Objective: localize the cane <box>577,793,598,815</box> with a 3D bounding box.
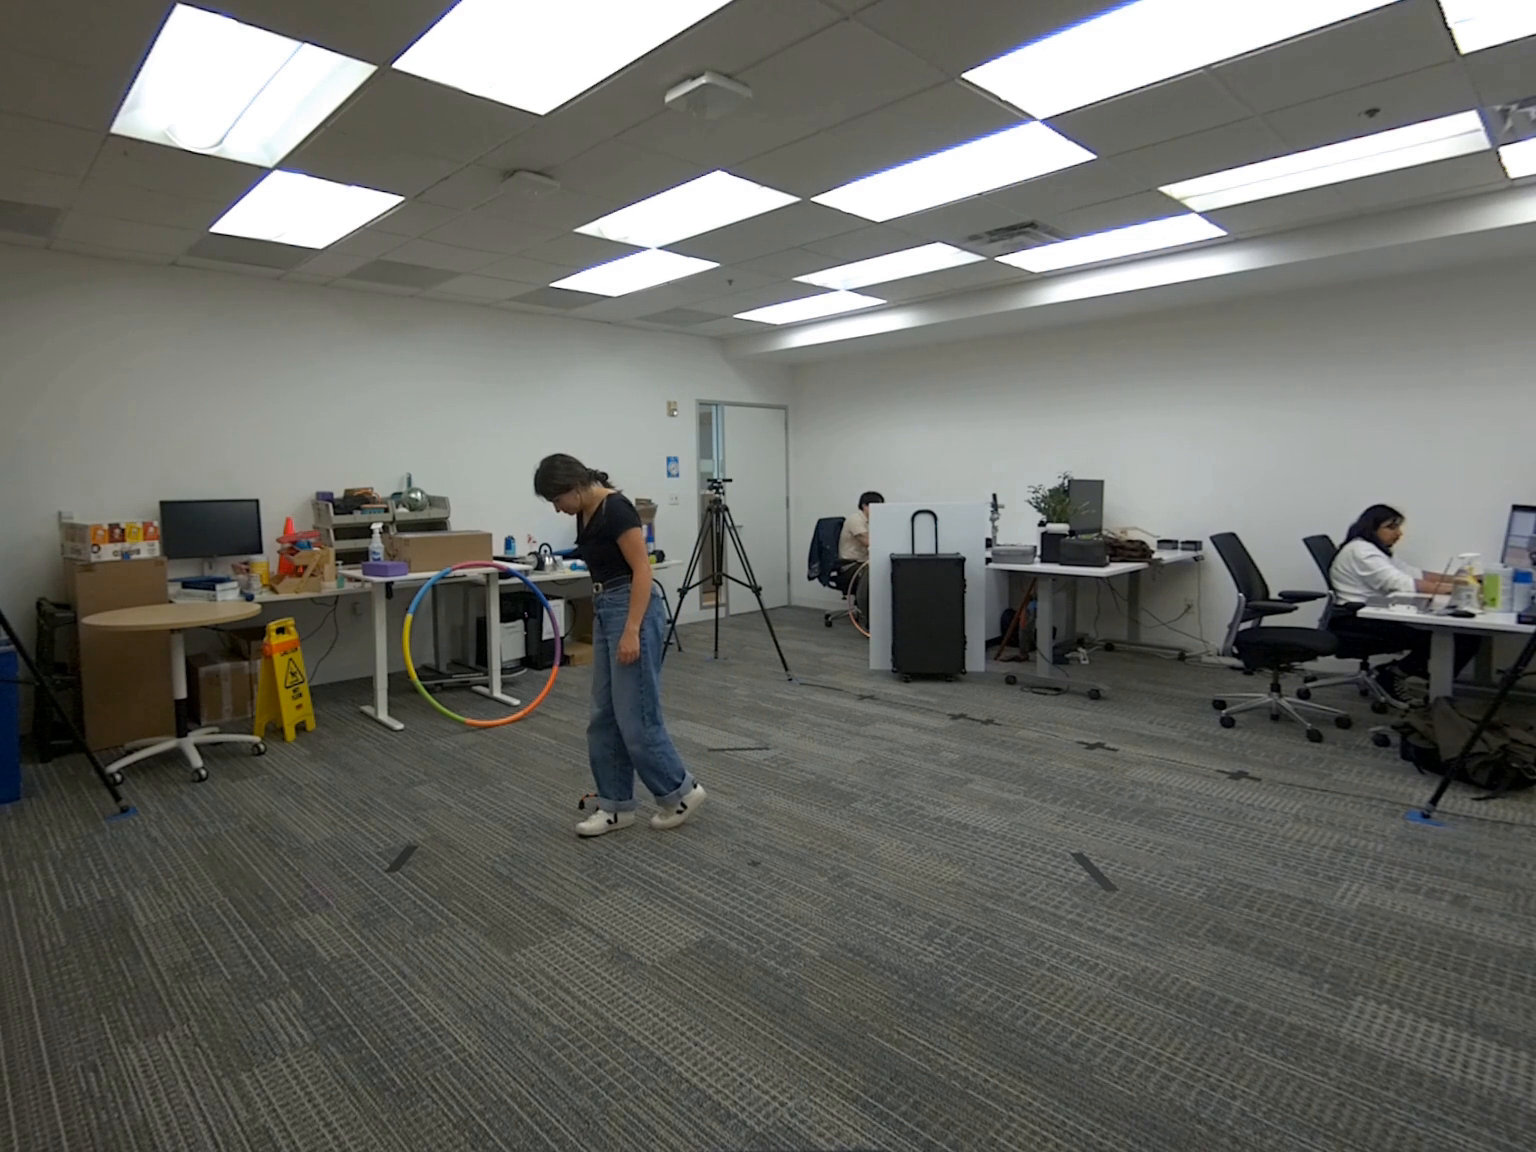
[{"bbox_3d":[-0.702,0.544,3.674,0.156,0.905,0.201,2,5,44],"label":"cane"}]
